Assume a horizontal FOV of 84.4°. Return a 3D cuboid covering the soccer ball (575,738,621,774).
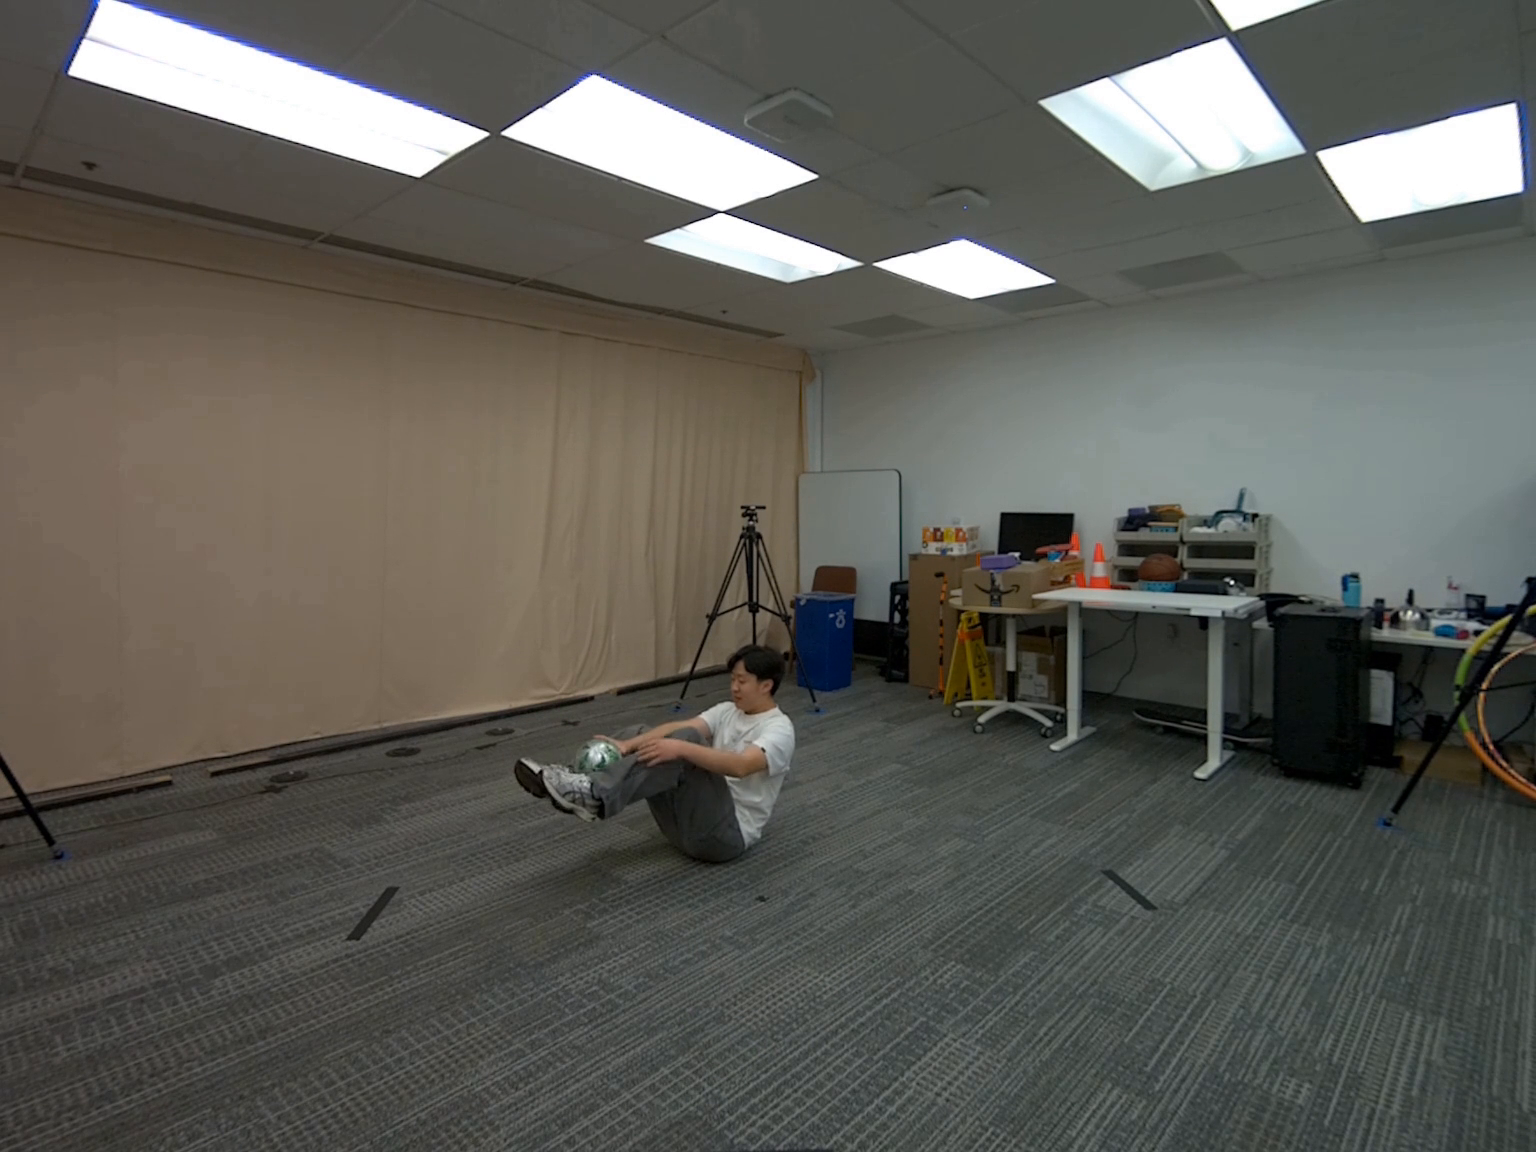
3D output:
[{"bbox_3d":[-0.620,0.692,3.145,0.187,0.187,0.188,0,4,-2],"label":"soccer ball"}]
